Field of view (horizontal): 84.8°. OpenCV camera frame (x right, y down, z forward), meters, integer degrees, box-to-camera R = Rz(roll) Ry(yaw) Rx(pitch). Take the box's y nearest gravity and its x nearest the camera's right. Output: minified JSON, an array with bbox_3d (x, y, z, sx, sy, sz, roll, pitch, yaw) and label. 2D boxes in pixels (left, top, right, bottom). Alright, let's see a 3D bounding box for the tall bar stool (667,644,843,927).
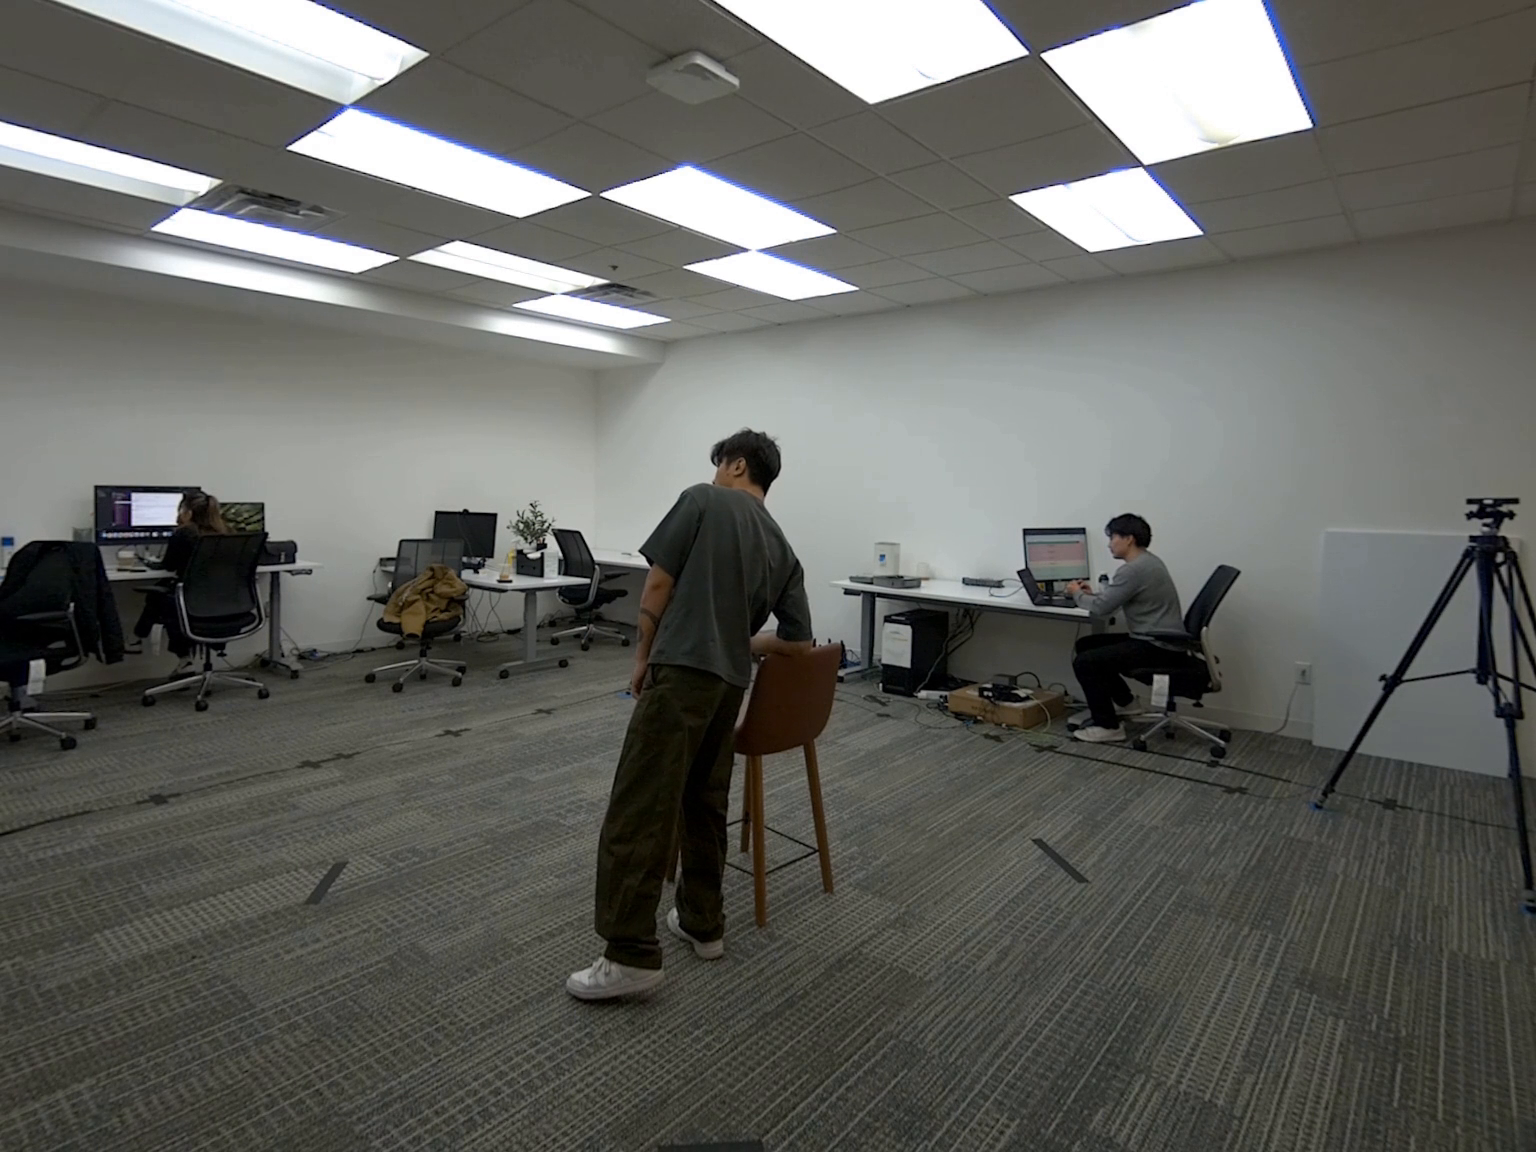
[{"bbox_3d":[-0.049,0.645,2.959,0.484,0.886,0.442,7,6,44],"label":"tall bar stool"}]
